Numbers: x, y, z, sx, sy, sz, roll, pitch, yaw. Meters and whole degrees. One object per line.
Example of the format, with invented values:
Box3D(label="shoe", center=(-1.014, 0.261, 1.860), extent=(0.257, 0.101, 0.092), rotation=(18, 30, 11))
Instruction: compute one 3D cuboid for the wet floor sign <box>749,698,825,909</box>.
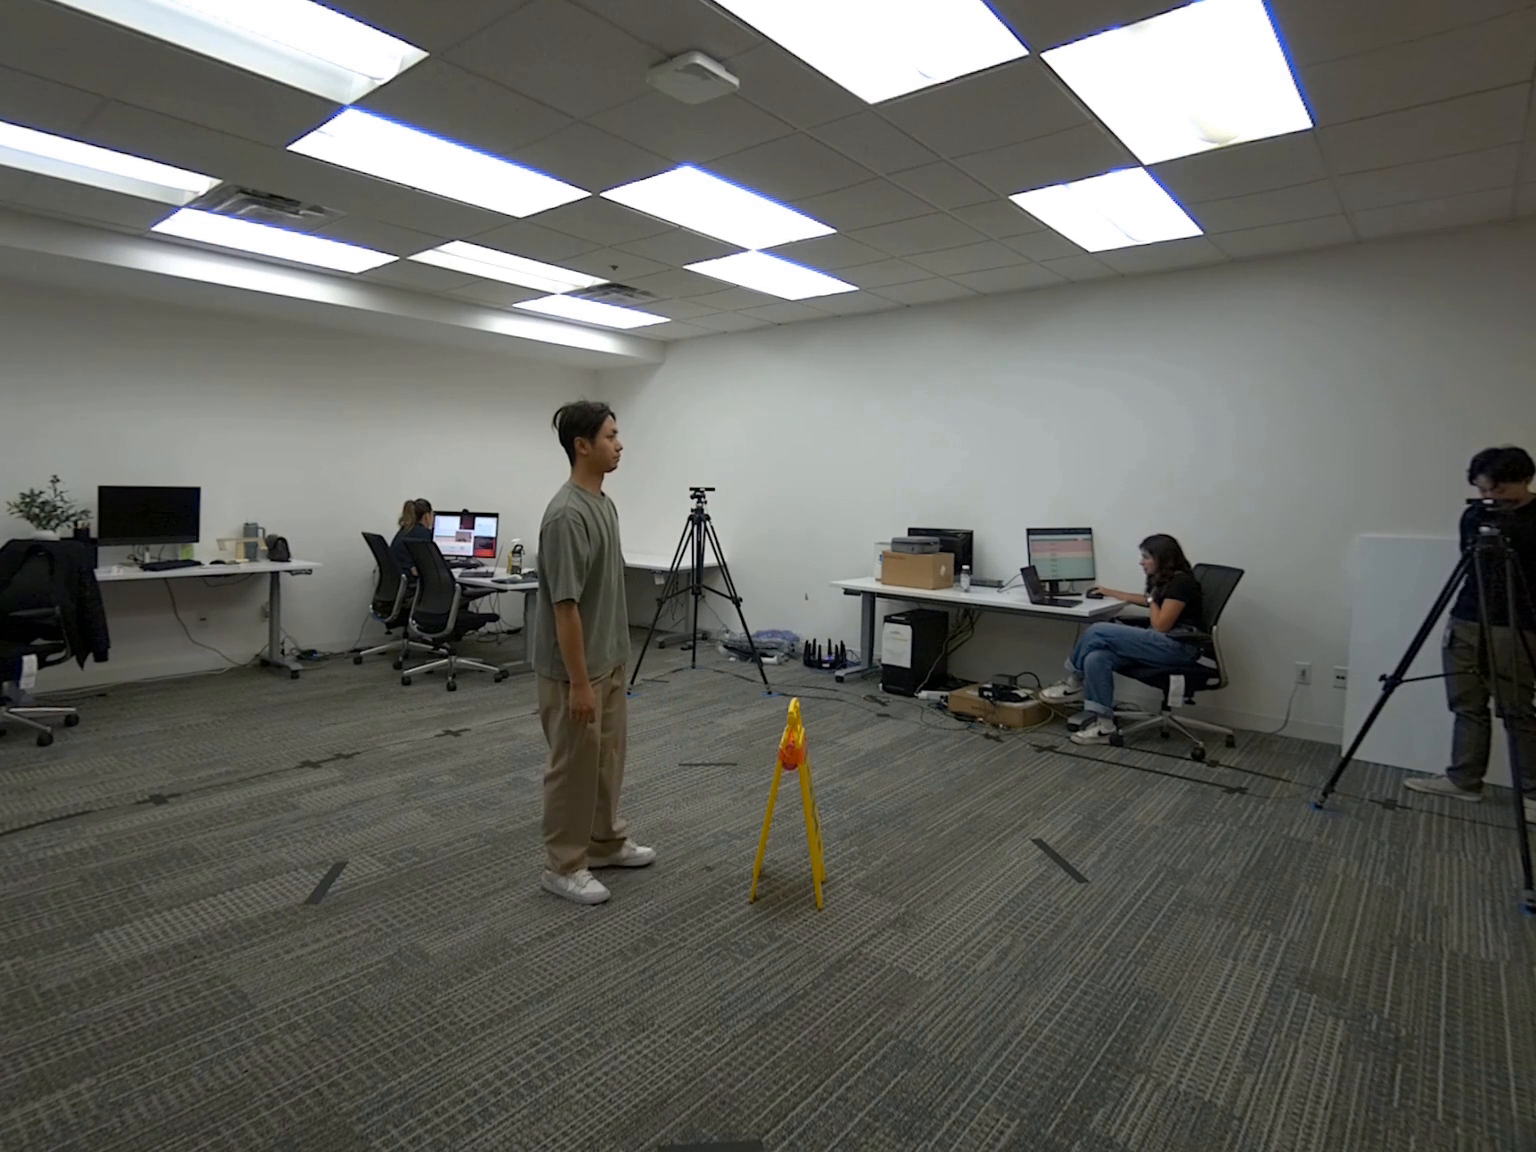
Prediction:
Box3D(label="wet floor sign", center=(0.075, 0.770, 2.955), extent=(0.292, 0.644, 0.281), rotation=(3, 4, 6))
